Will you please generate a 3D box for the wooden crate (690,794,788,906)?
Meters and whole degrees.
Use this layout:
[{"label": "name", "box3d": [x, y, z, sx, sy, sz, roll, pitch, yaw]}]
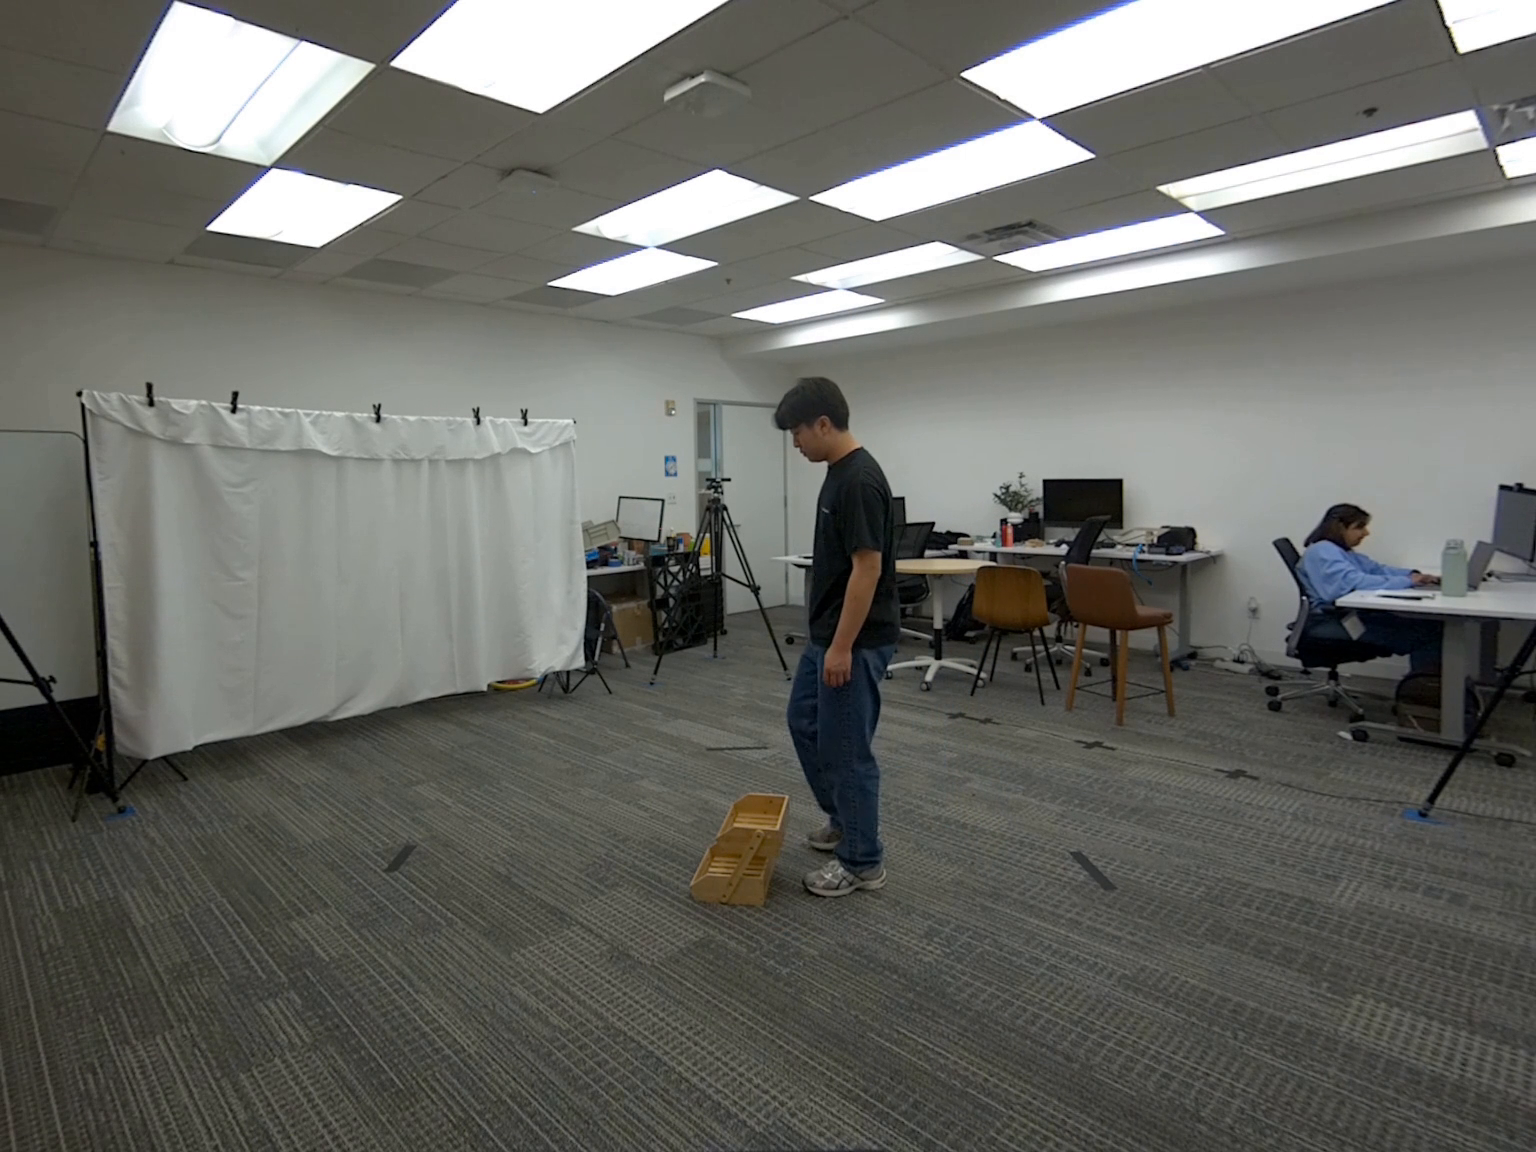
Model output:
[{"label": "wooden crate", "box3d": [-0.084, 0.928, 2.942, 0.305, 0.272, 0.323, 0, 5, 9]}]
